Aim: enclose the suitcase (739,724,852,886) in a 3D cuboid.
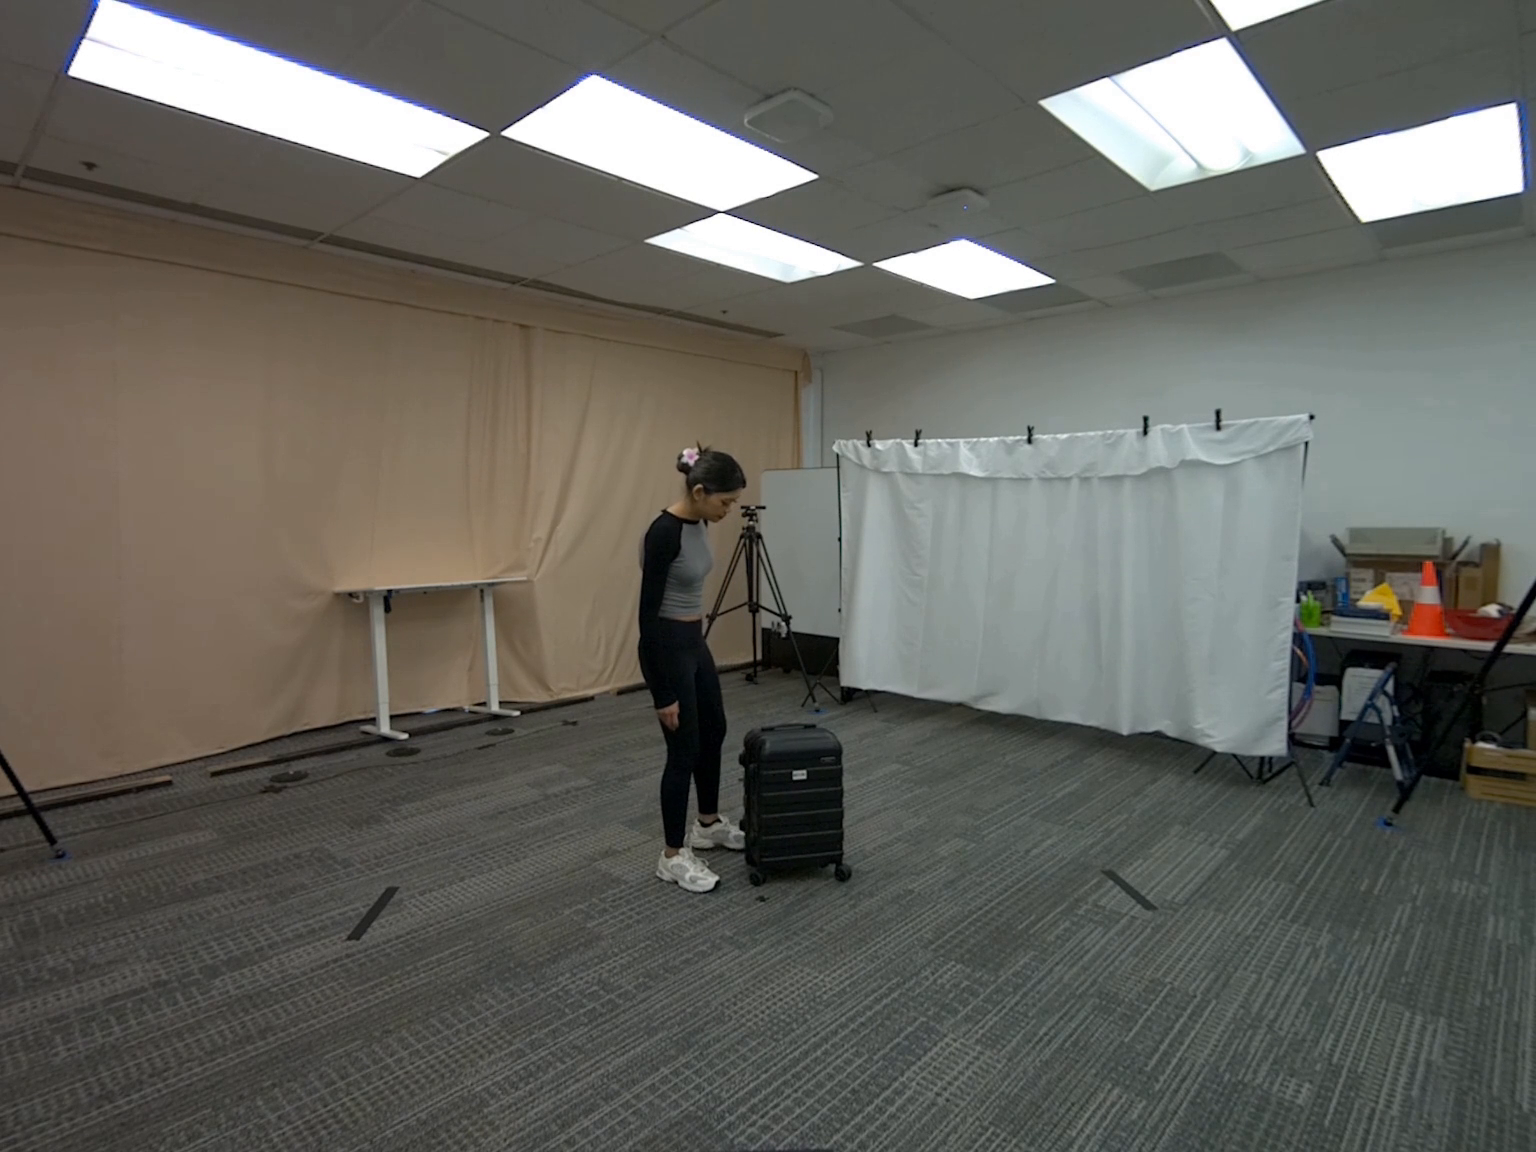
[{"bbox_3d":[0.100,0.848,3.197,0.370,0.548,0.252,0,3,-13],"label":"suitcase"}]
